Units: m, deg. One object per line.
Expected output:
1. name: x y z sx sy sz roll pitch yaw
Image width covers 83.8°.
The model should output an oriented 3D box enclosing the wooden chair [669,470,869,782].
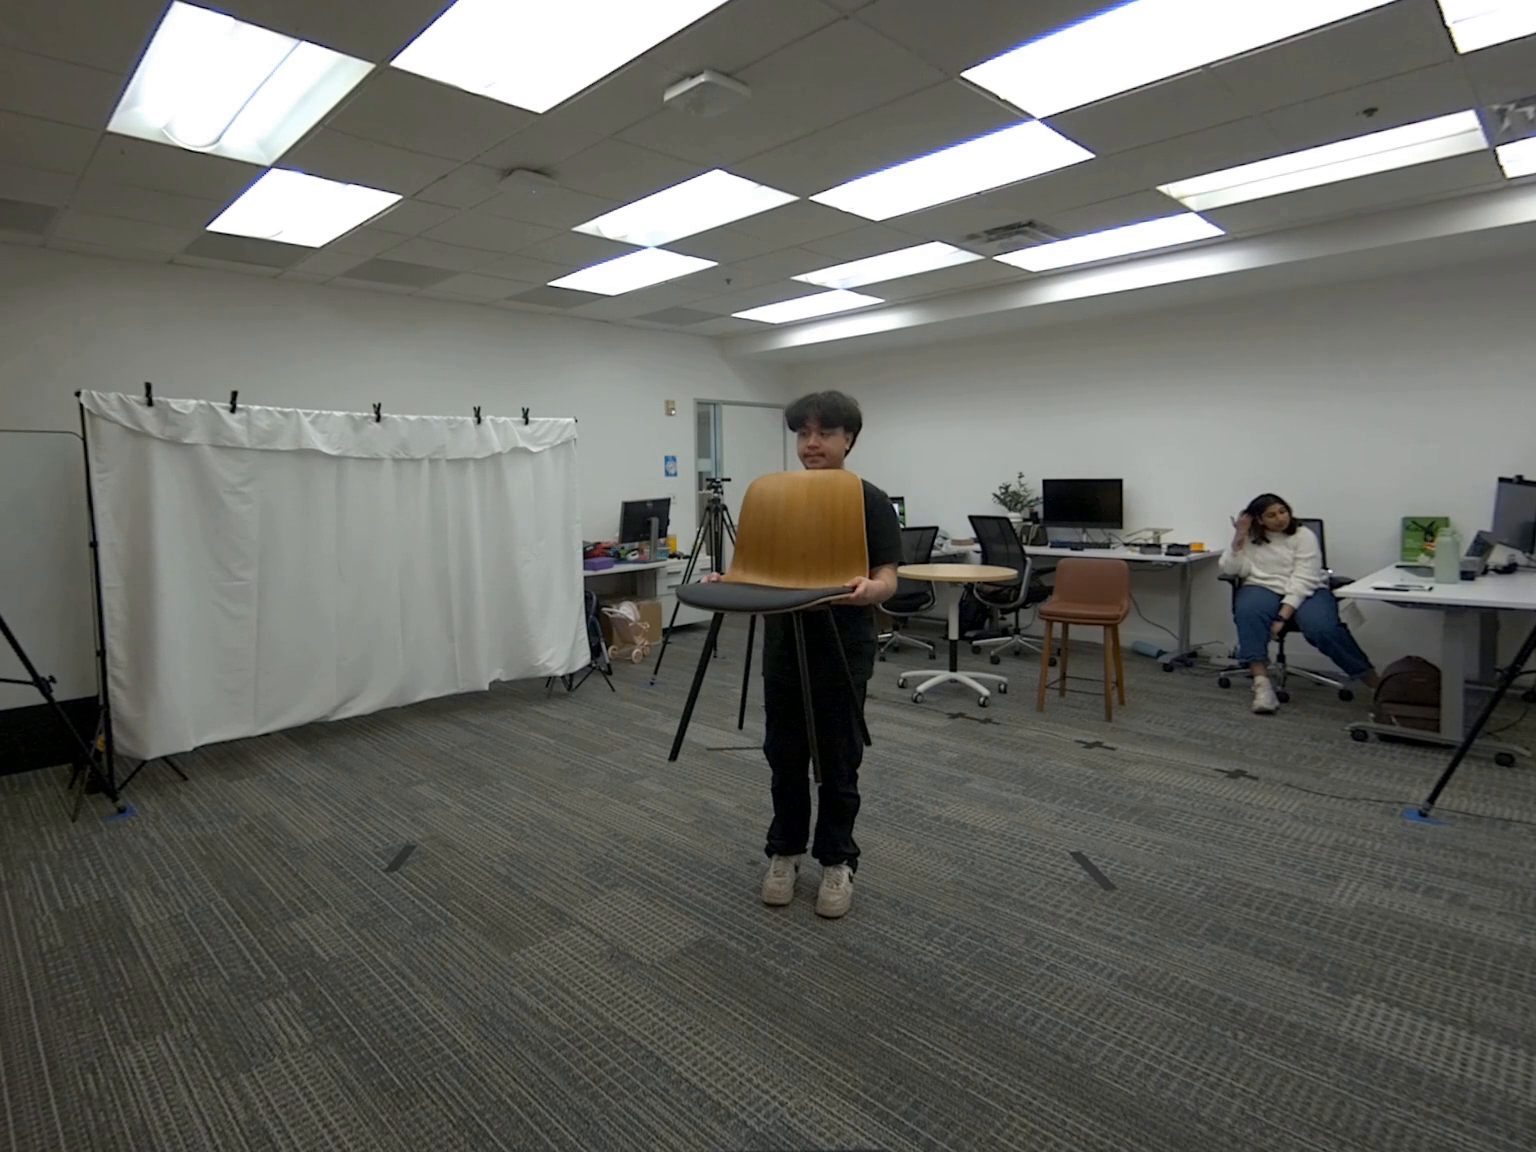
1. wooden chair: 0.010 0.098 2.482 0.489 0.880 0.509 1 -3 26
